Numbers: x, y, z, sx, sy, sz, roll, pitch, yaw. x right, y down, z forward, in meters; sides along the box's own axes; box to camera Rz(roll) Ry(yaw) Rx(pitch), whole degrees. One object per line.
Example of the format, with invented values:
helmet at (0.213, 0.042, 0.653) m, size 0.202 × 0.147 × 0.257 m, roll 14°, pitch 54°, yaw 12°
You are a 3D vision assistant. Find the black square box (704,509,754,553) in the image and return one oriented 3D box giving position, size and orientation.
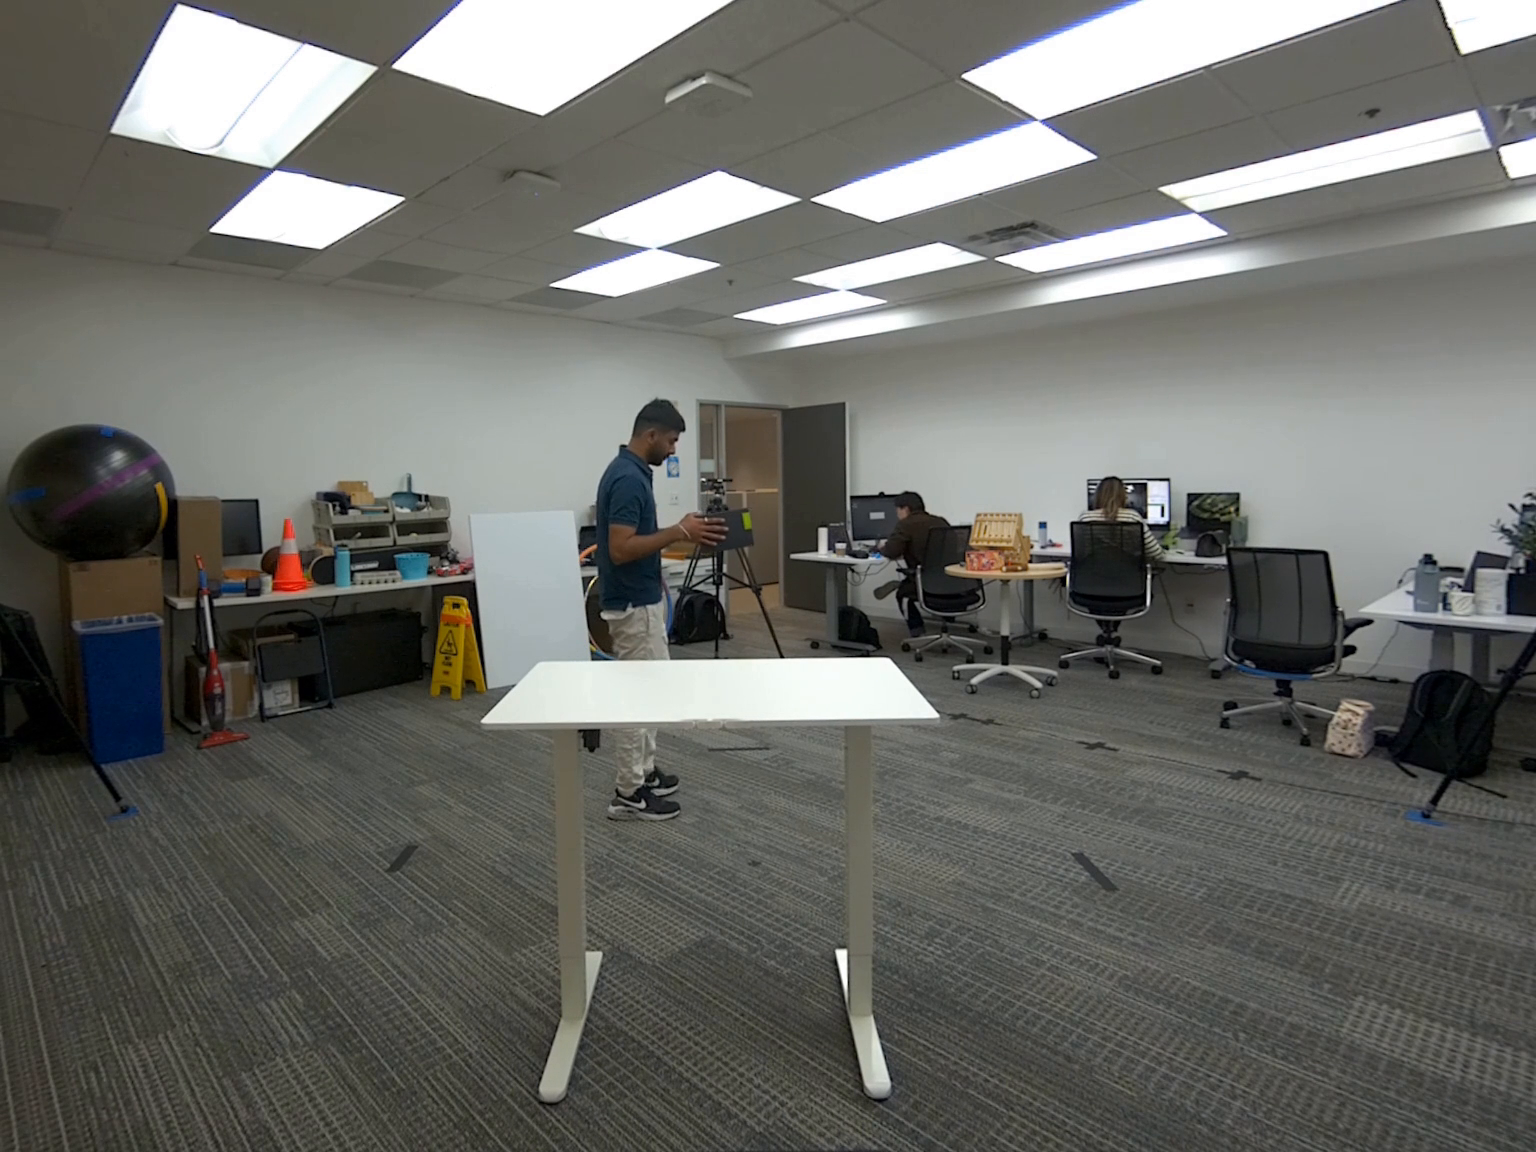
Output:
black square box at (-0.176, -0.189, 3.520) m, size 0.217 × 0.156 × 0.228 m, roll -9°, pitch 2°, yaw -1°
